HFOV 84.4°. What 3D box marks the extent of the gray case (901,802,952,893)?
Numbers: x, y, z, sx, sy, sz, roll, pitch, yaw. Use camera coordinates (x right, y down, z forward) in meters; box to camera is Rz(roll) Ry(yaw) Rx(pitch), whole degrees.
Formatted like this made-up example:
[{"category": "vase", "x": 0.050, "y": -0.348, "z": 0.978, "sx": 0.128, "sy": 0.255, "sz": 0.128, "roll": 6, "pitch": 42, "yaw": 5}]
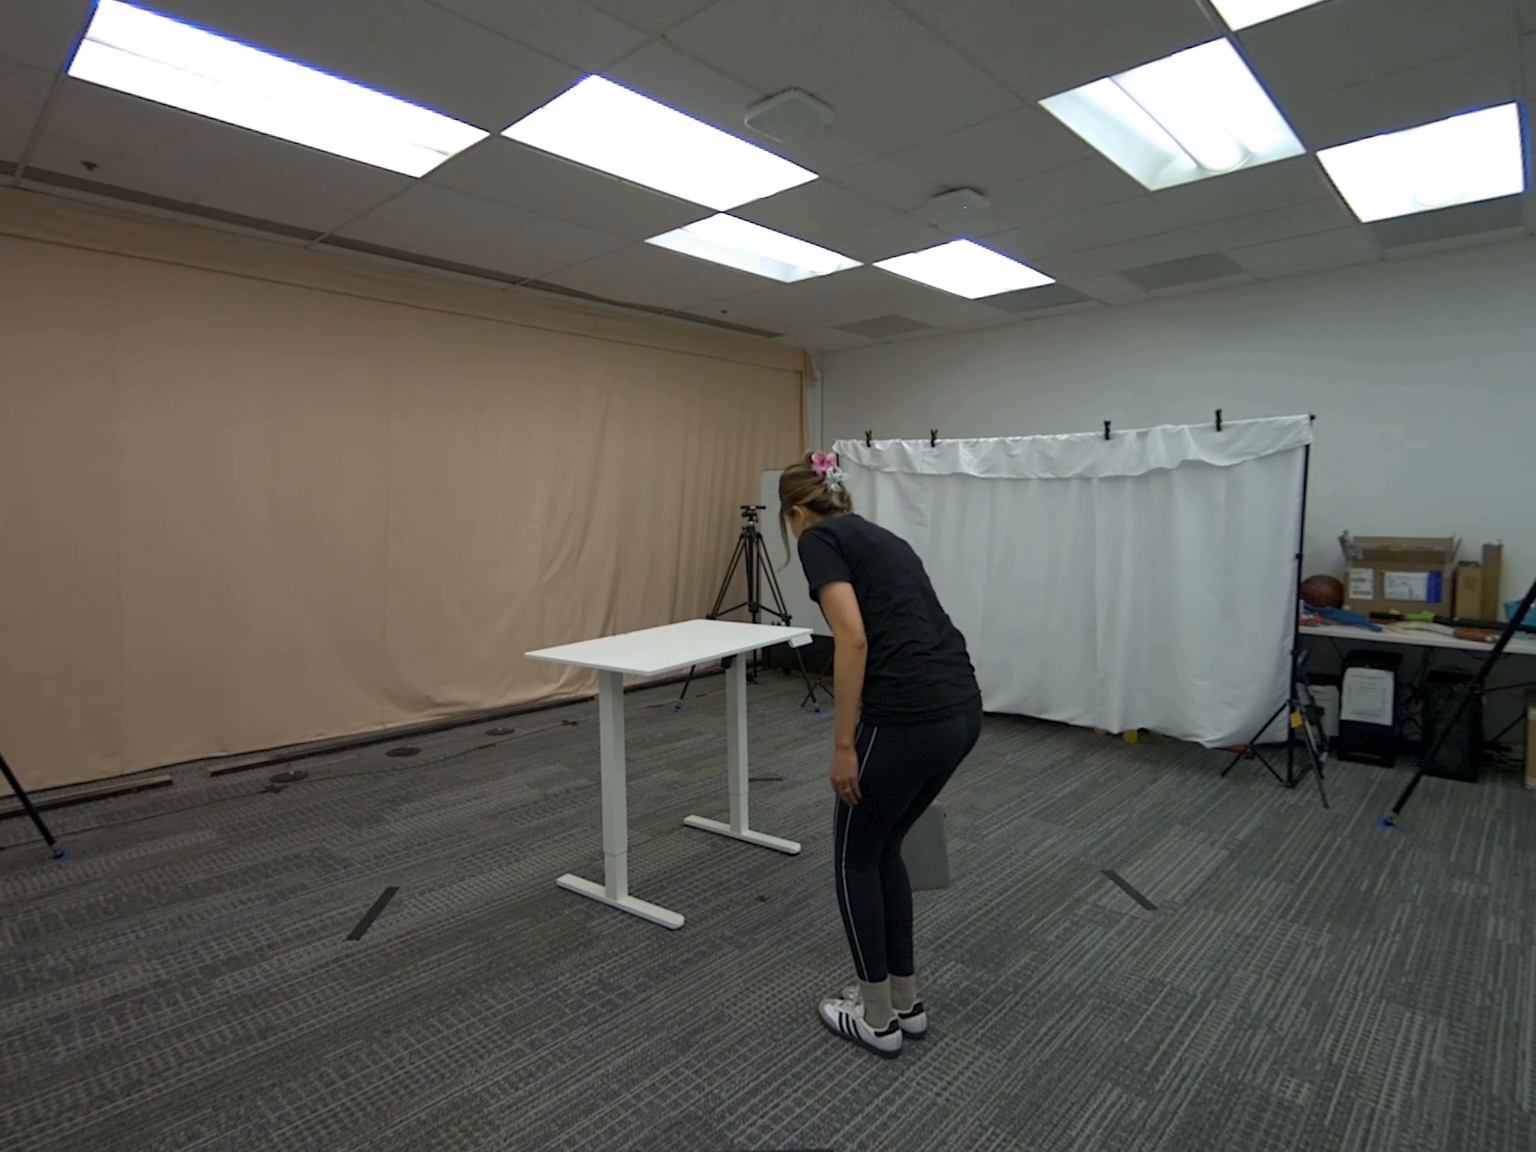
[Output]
[{"category": "gray case", "x": 0.404, "y": 0.788, "z": 2.465, "sx": 0.255, "sy": 0.262, "sz": 0.104, "roll": -4, "pitch": -9, "yaw": -9}]
